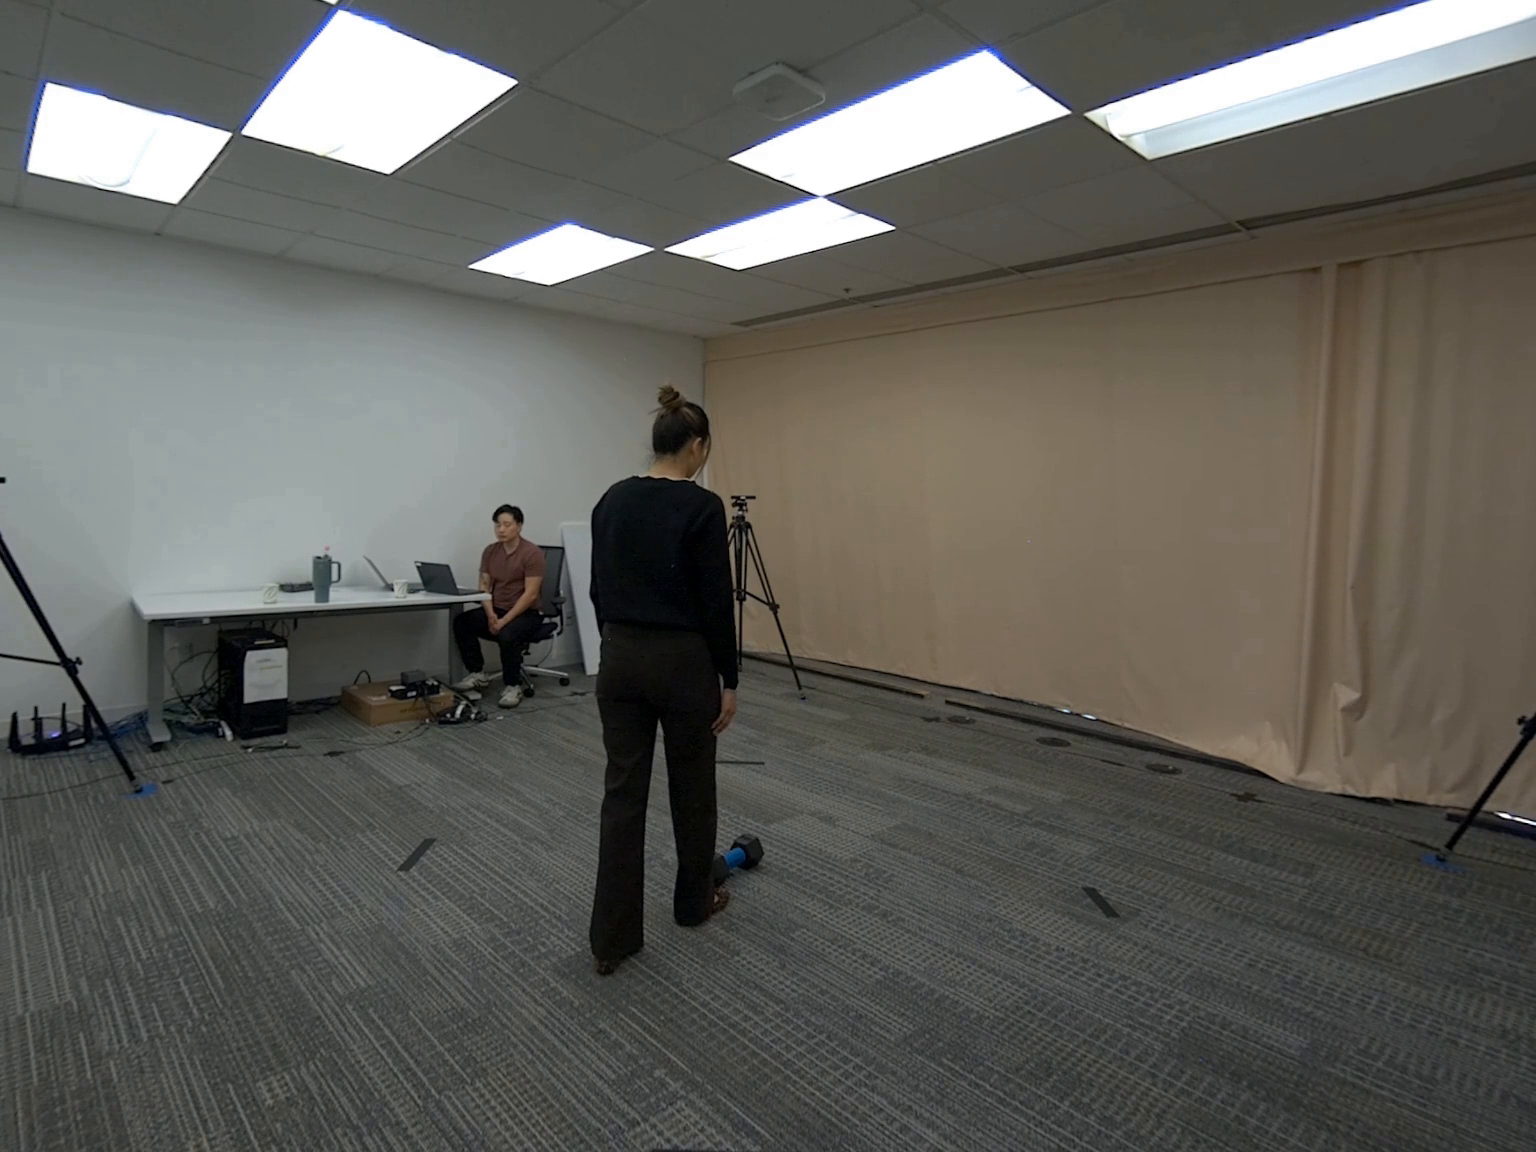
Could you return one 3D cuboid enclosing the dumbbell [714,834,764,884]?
[{"bbox_3d":[-0.150,1.049,3.100,0.110,0.124,0.287,-29,-13,34],"label":"dumbbell"}]
